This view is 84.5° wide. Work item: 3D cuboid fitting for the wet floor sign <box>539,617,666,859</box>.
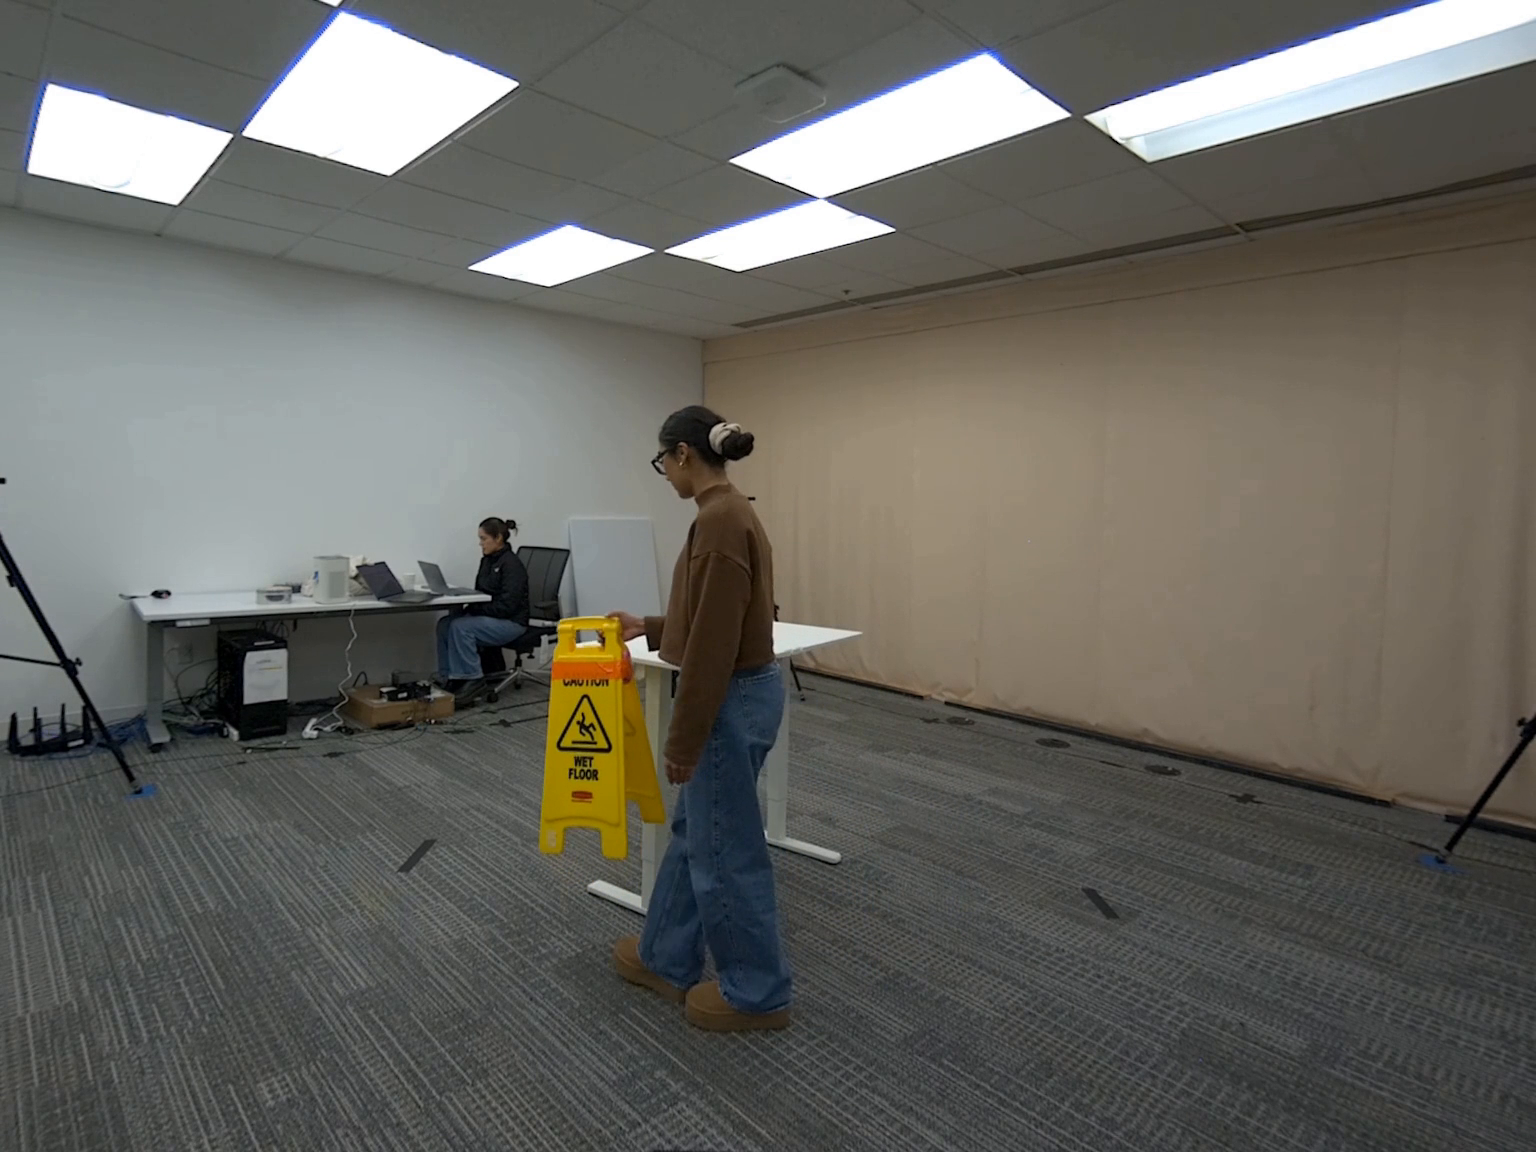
[{"bbox_3d":[-0.506,0.450,2.453,0.286,0.646,0.286,-3,1,18],"label":"wet floor sign"}]
